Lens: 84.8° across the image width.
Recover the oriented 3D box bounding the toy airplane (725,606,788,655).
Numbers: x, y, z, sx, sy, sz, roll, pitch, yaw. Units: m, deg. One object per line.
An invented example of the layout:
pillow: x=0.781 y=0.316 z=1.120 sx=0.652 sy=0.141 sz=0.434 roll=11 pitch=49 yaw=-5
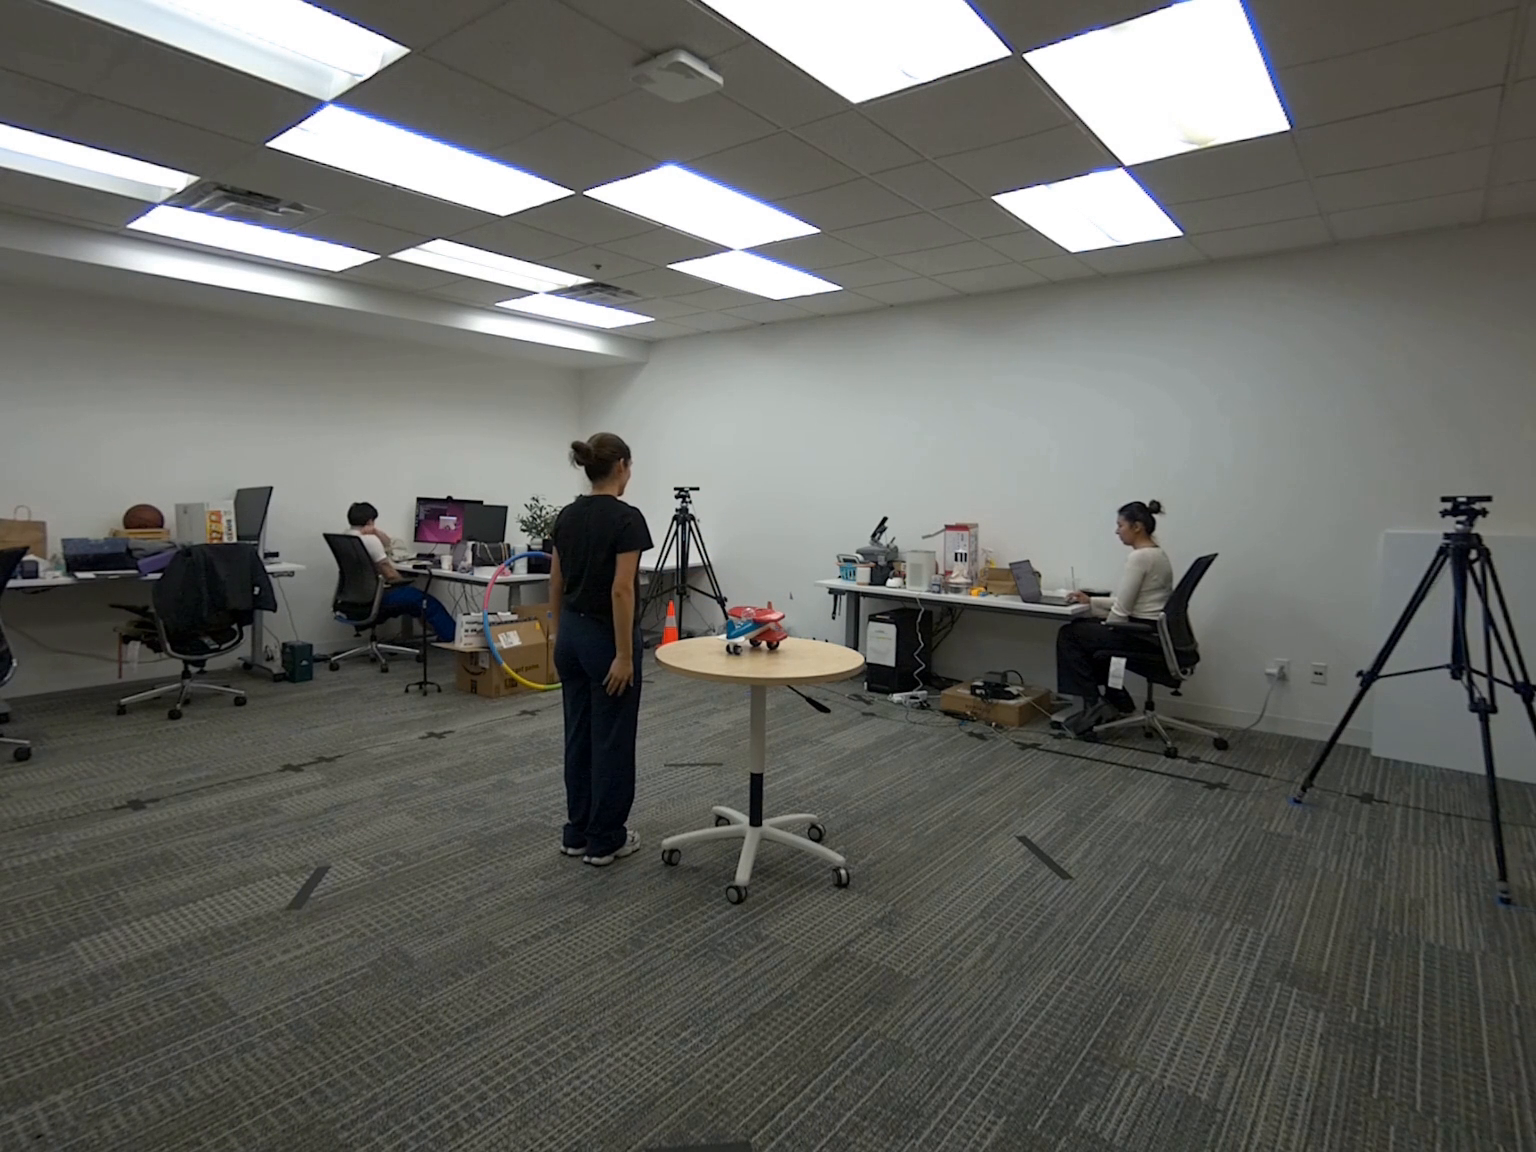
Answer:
toy airplane: x=-0.042 y=0.205 z=3.185 sx=0.255 sy=0.156 sz=0.256 roll=2 pitch=4 yaw=14
